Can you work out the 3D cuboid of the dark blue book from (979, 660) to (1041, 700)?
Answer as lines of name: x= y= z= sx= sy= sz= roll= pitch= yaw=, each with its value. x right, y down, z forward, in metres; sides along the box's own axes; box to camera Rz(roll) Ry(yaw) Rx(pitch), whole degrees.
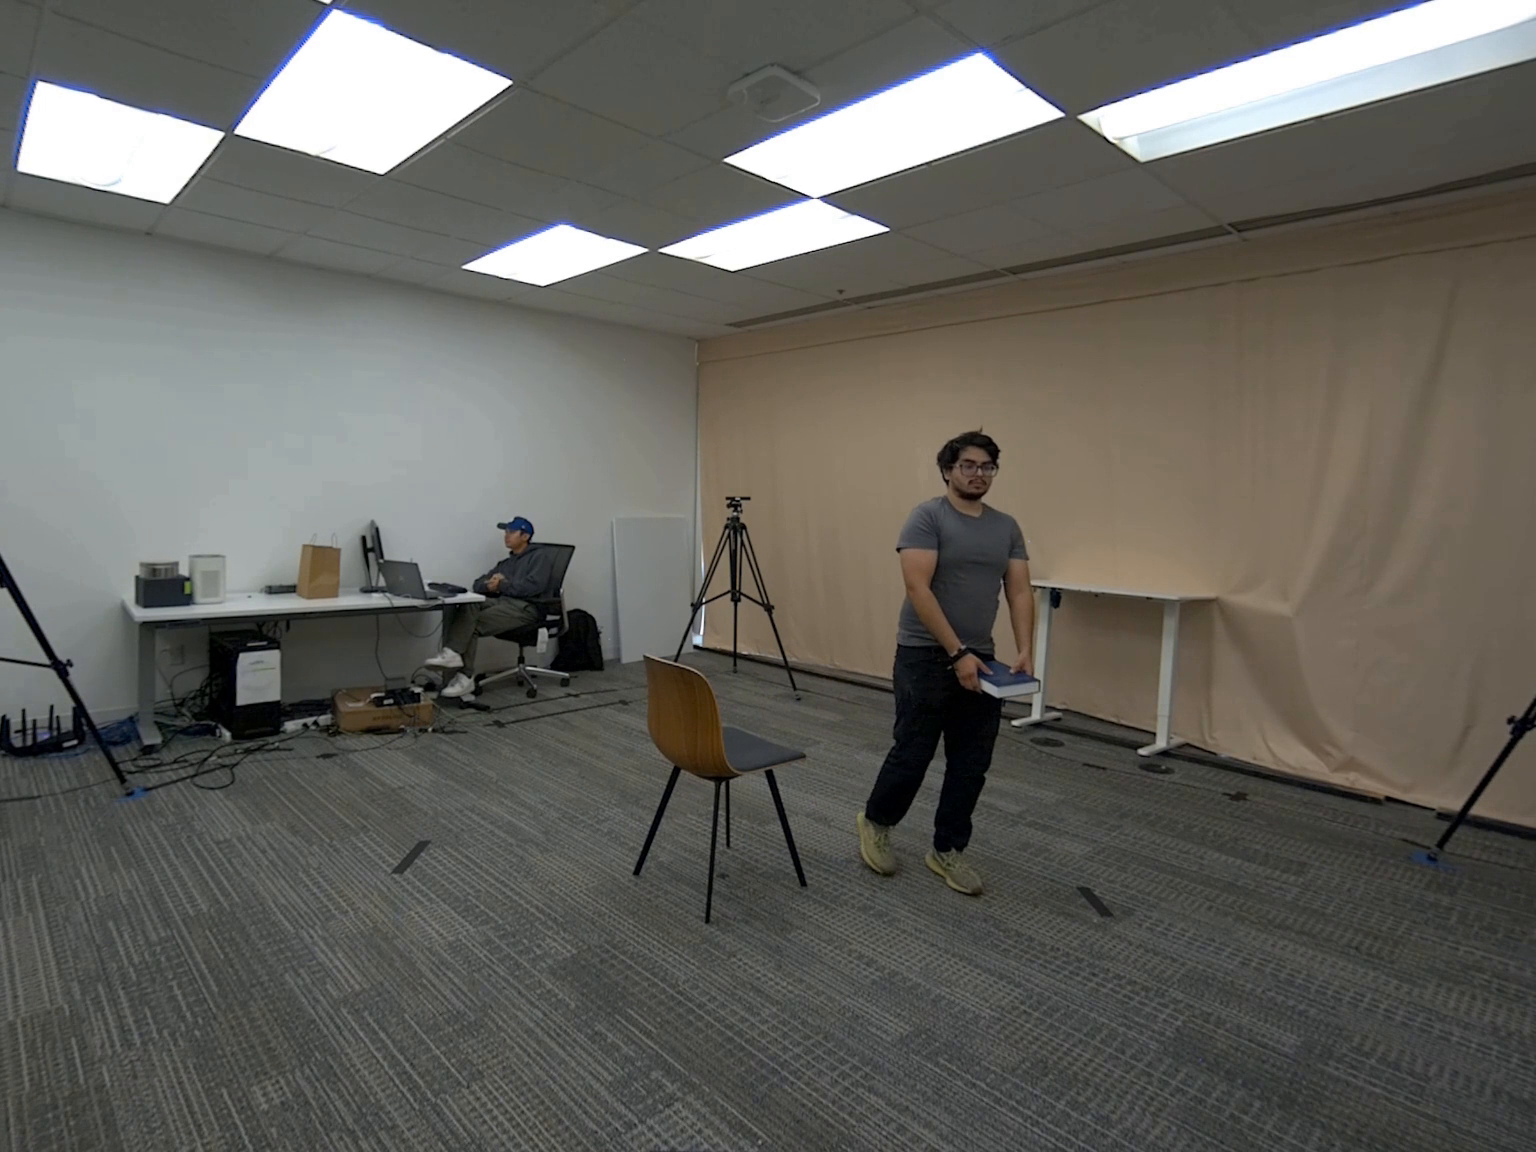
dark blue book: x=0.777 y=0.352 z=2.835 sx=0.162 sy=0.045 sz=0.249 roll=-6 pitch=9 yaw=-14
